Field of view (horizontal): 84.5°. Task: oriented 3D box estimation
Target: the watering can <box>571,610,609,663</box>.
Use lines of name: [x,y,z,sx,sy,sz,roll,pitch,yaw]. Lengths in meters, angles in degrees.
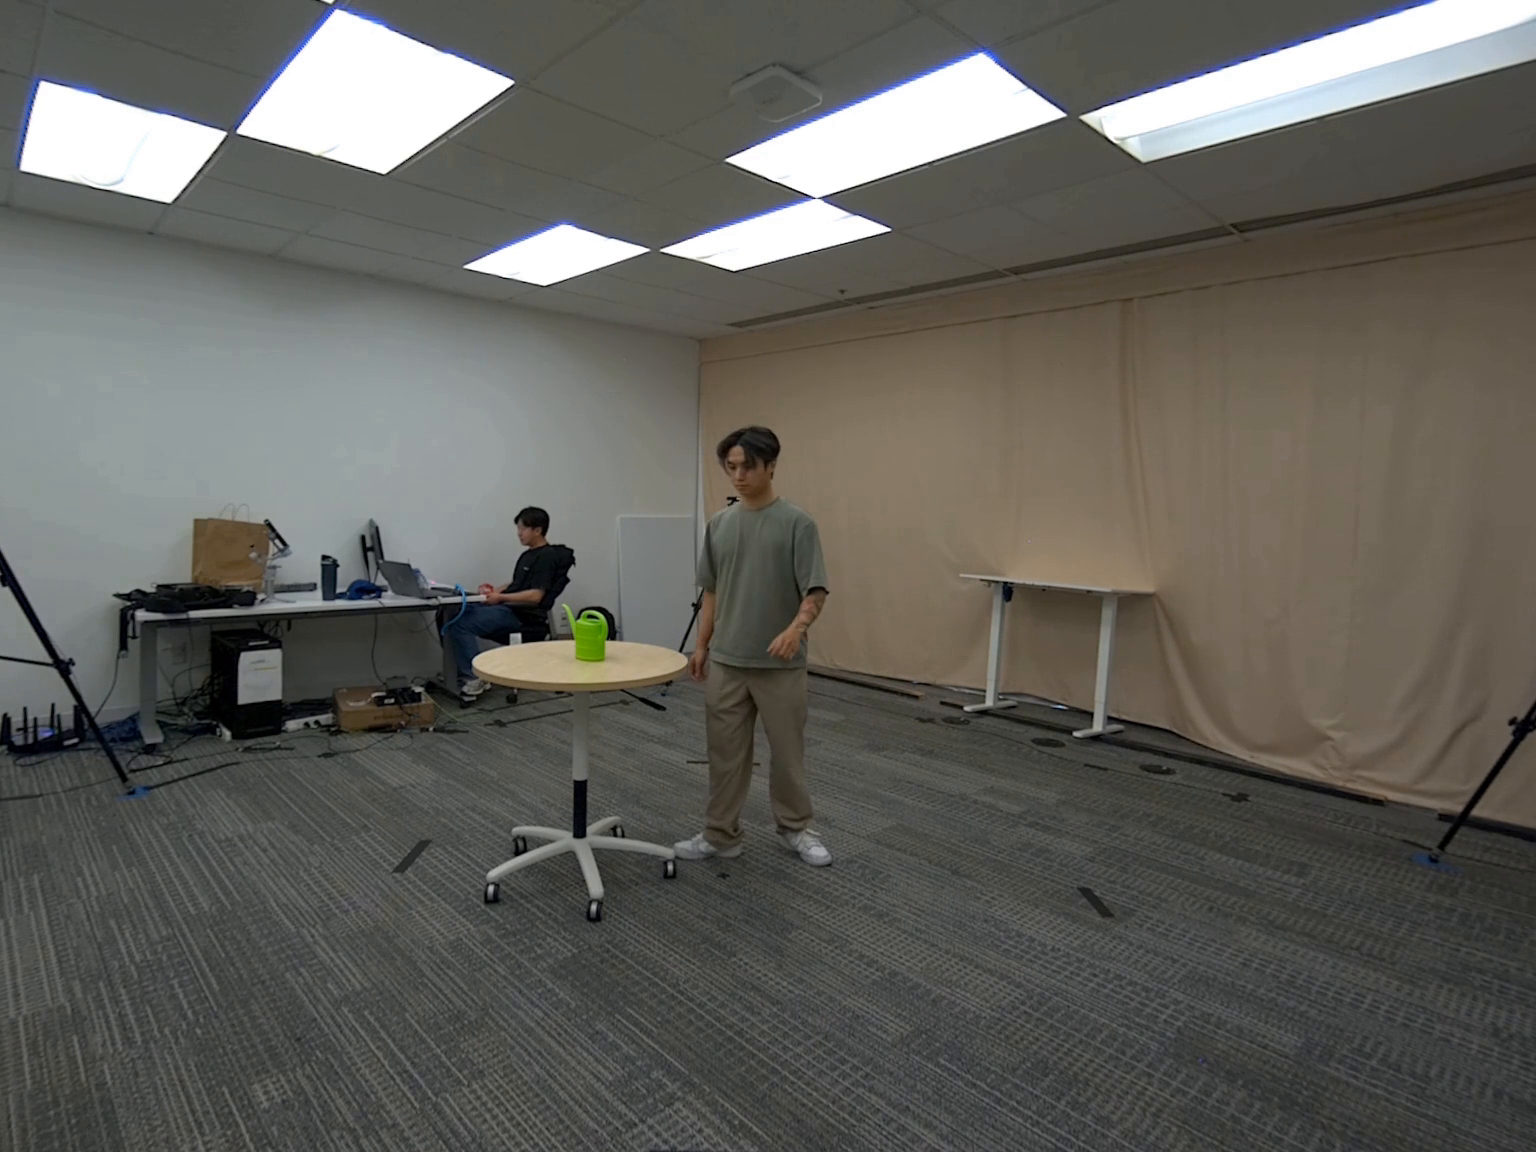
watering can: [-0.671,0.213,3.095,0.096,0.176,0.285,1,5,-33]
